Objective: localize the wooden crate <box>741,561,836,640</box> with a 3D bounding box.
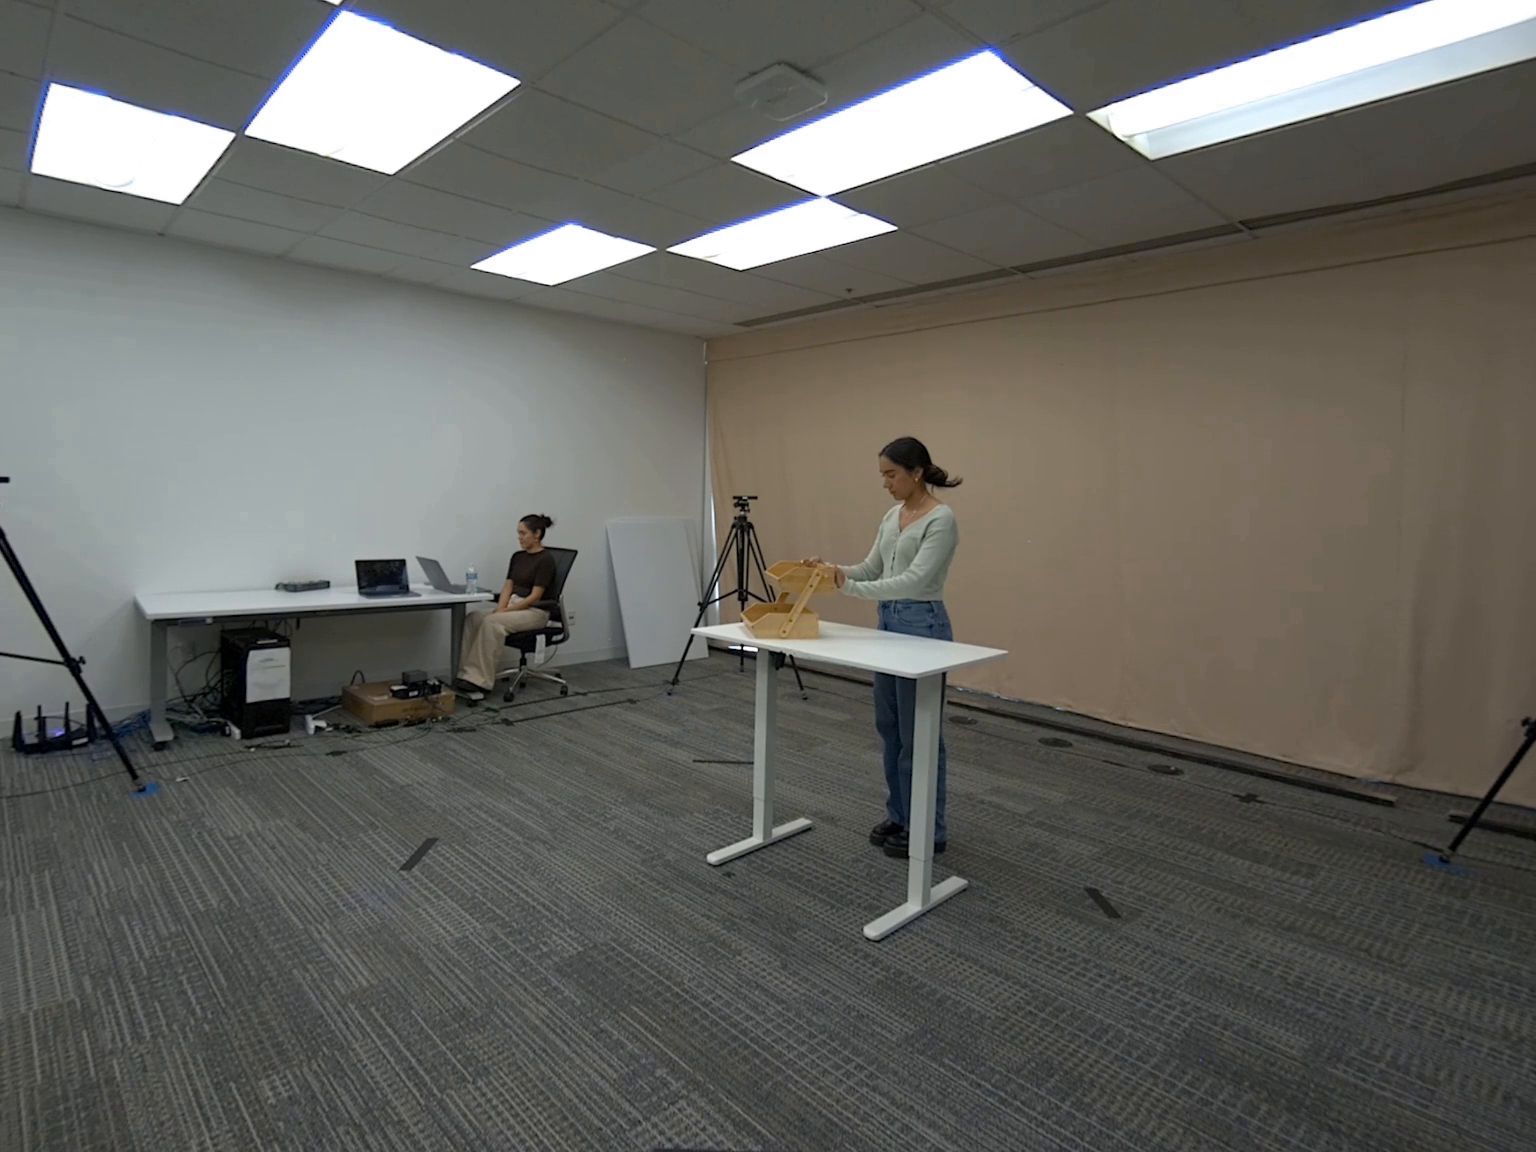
[{"bbox_3d":[0.061,0.084,3.197,0.300,0.272,0.327,1,5,-8],"label":"wooden crate"}]
